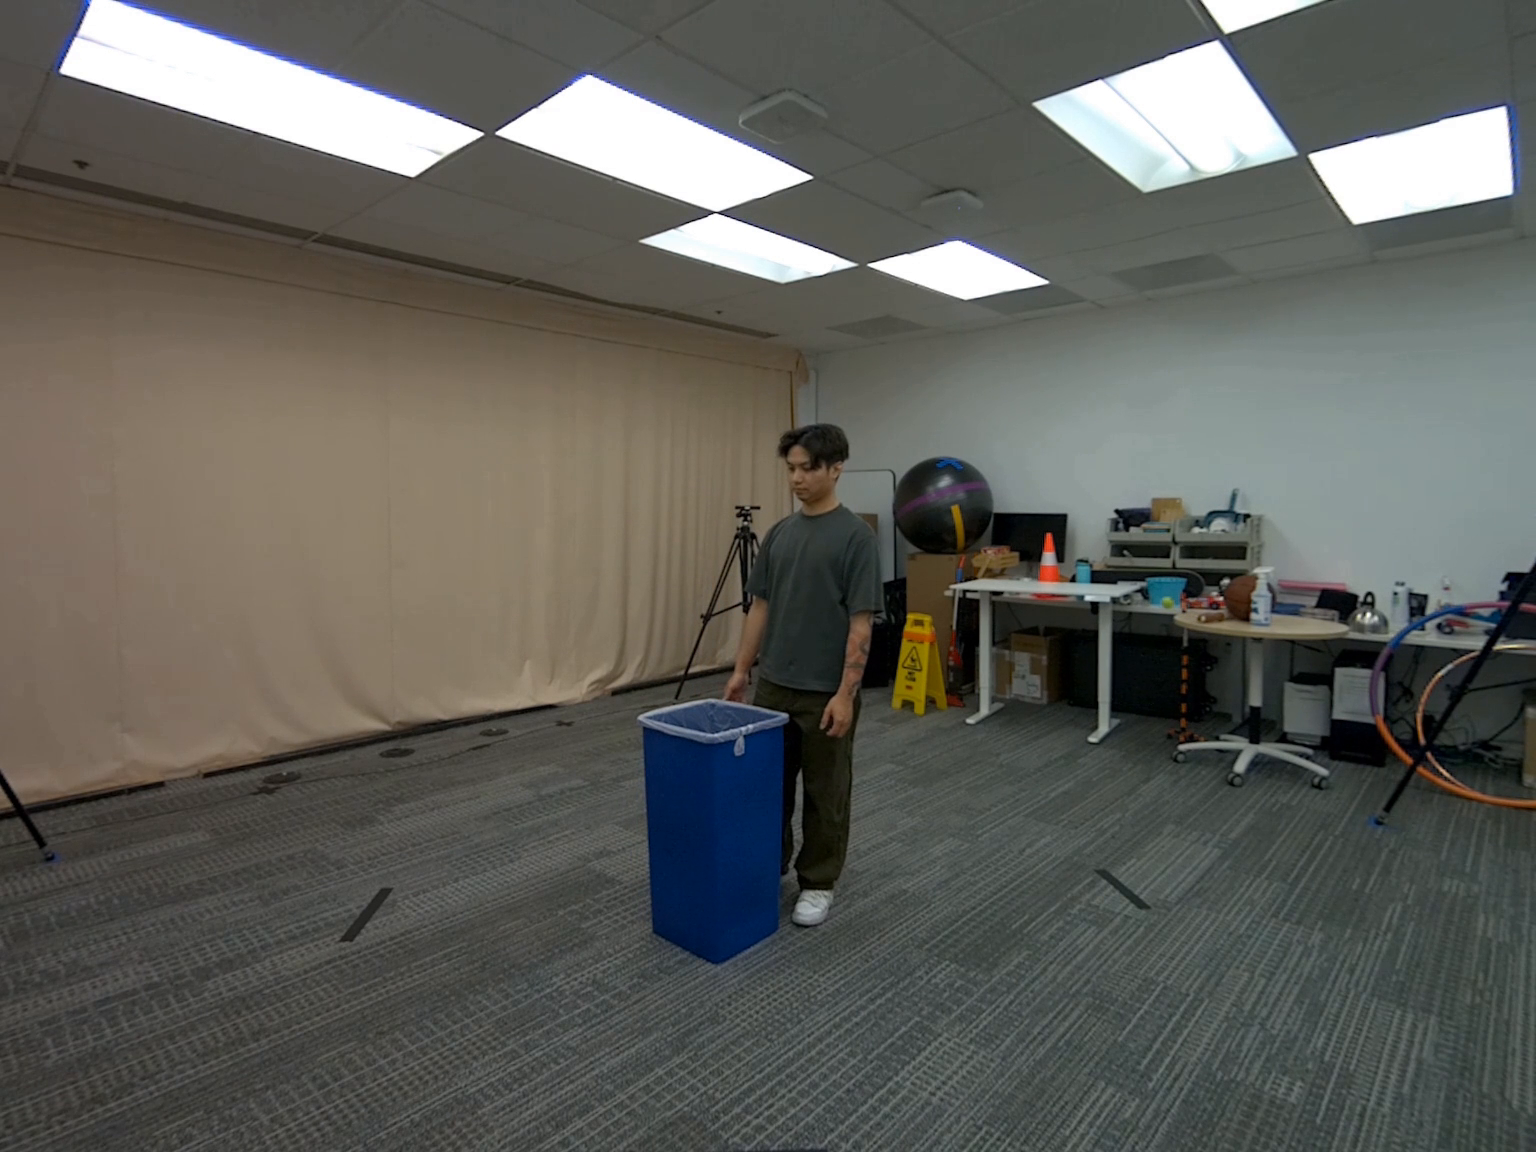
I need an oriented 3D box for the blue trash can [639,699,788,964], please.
[{"bbox_3d":[-0.176,0.809,2.731,0.390,0.712,0.362,2,4,42],"label":"blue trash can"}]
